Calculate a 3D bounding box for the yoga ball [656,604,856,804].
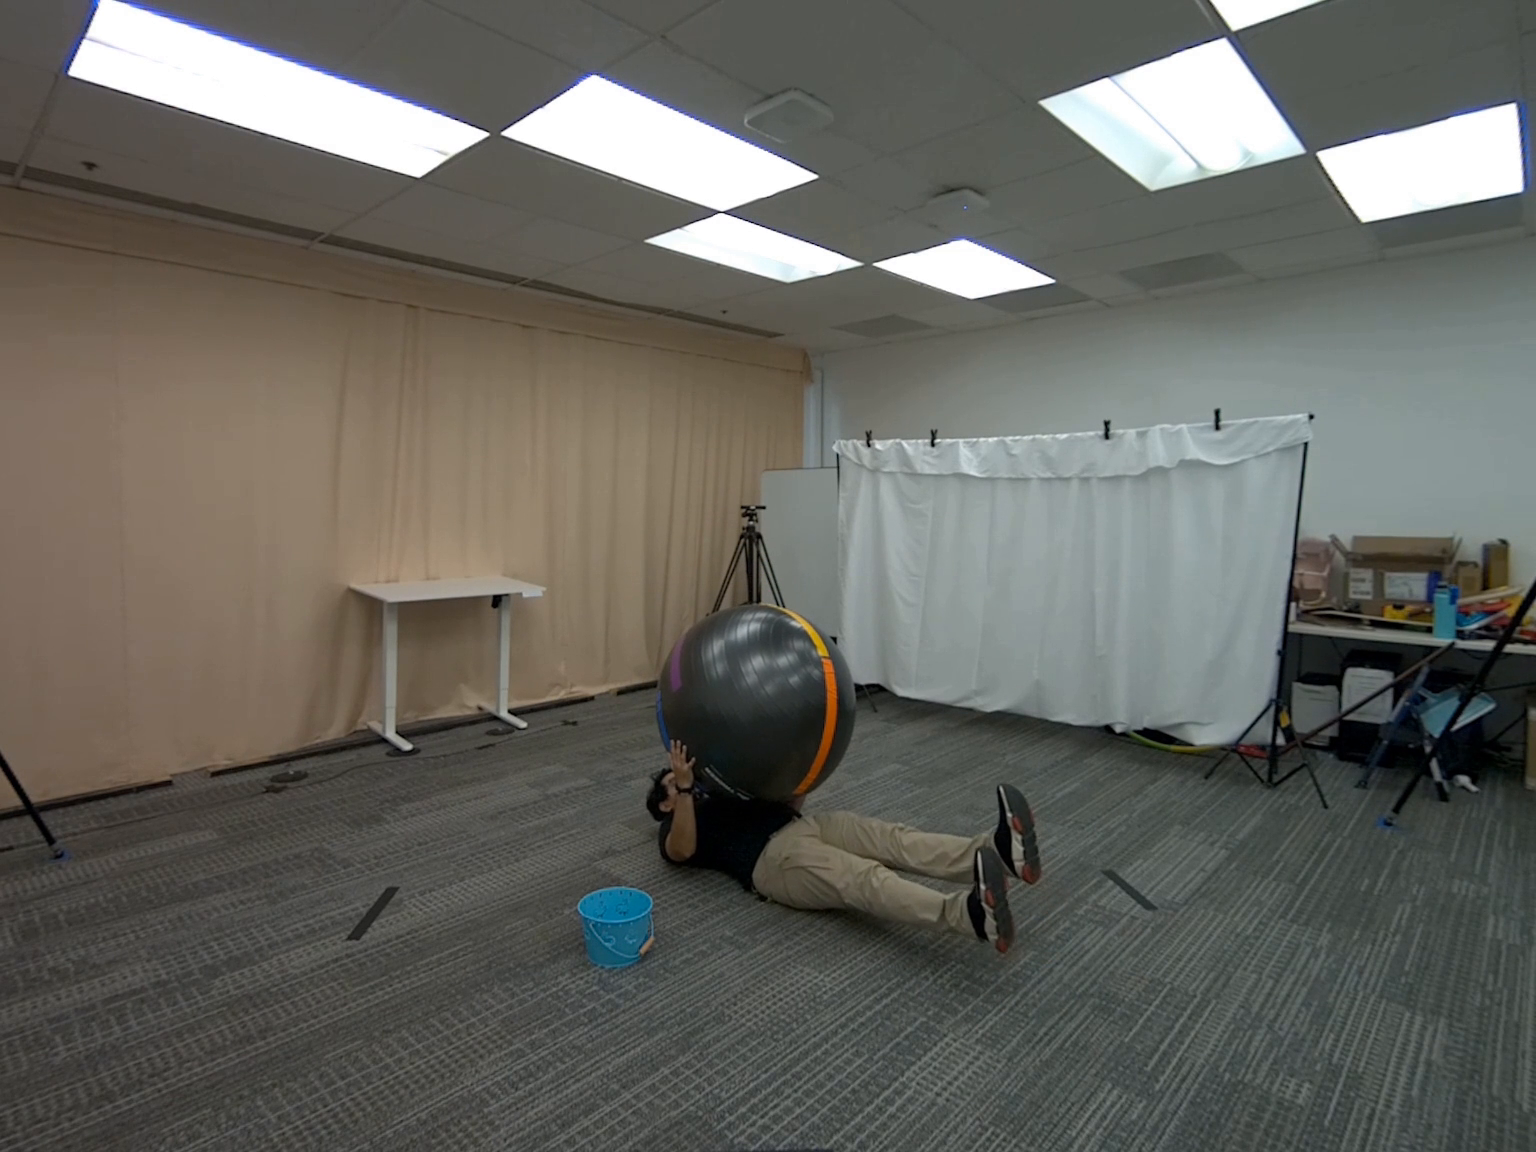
[{"bbox_3d":[-0.043,0.488,3.201,0.757,0.756,0.761,0,4,-2],"label":"yoga ball"}]
